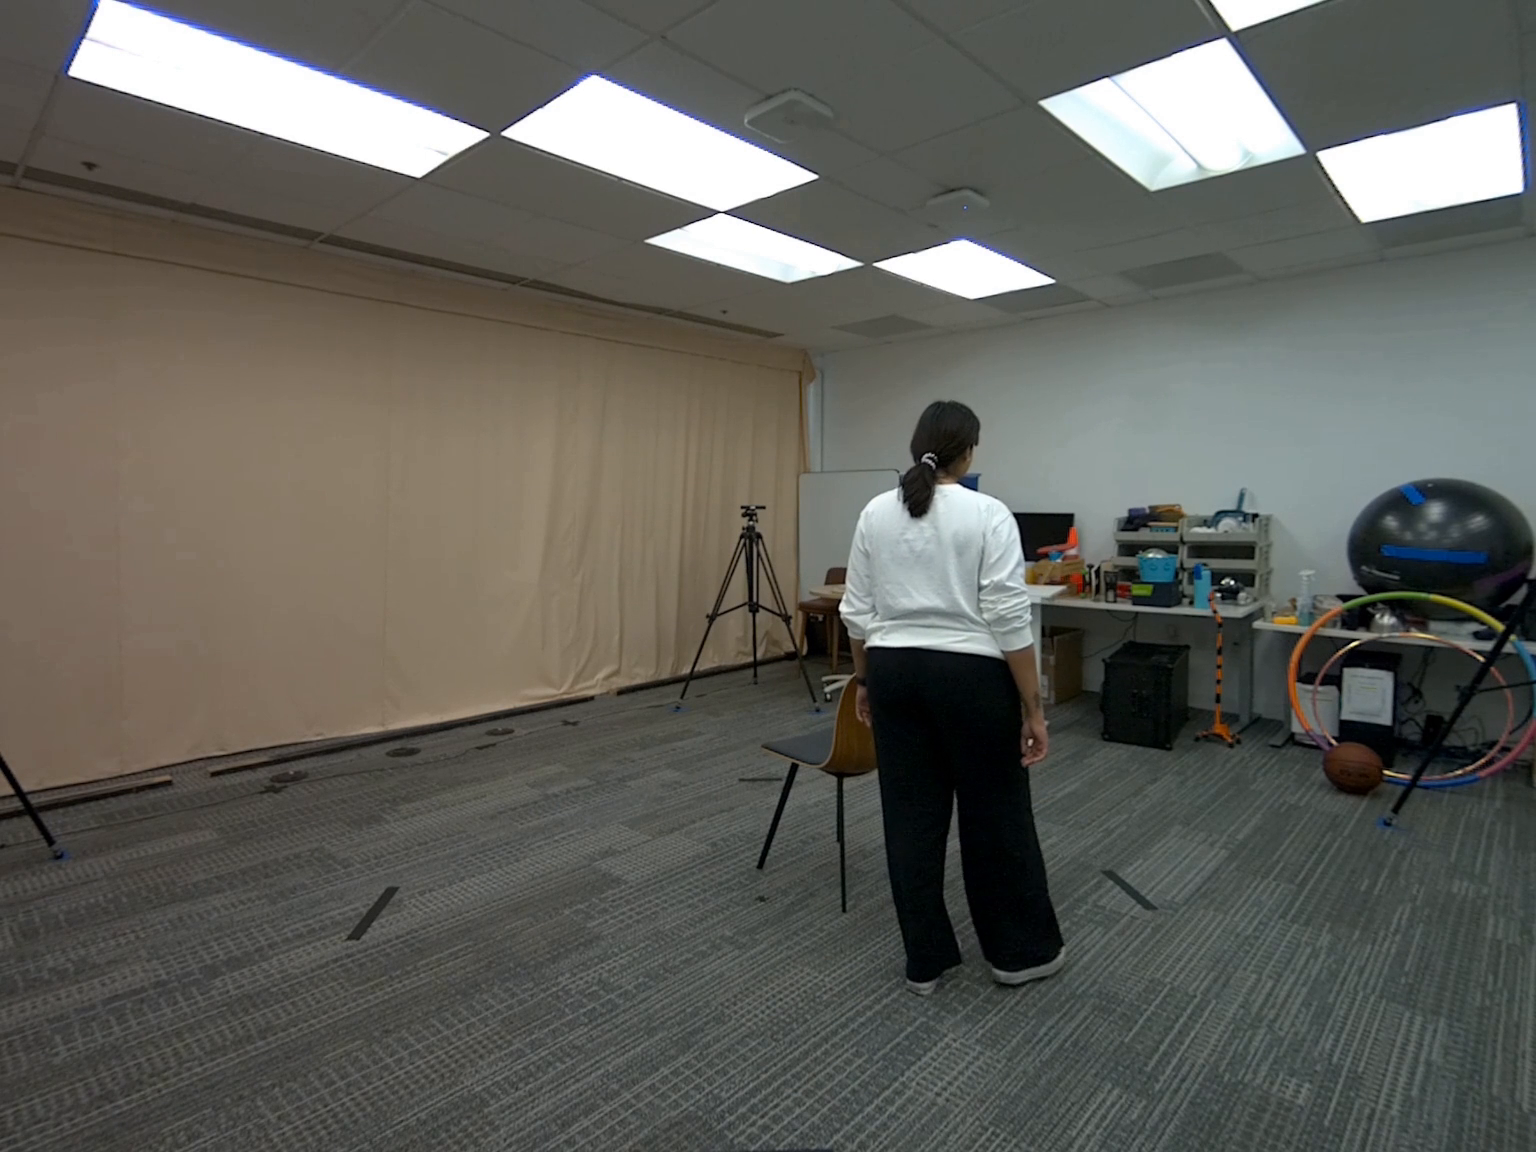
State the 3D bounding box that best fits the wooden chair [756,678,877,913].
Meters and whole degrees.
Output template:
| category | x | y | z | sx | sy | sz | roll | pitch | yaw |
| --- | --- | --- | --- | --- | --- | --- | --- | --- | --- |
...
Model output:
| category | x | y | z | sx | sy | sz | roll | pitch | yaw |
| --- | --- | --- | --- | --- | --- | --- | --- | --- | --- |
| wooden chair | 0.272 | 0.700 | 3.164 | 0.463 | 0.874 | 0.541 | -3 | 9 | -41 |
